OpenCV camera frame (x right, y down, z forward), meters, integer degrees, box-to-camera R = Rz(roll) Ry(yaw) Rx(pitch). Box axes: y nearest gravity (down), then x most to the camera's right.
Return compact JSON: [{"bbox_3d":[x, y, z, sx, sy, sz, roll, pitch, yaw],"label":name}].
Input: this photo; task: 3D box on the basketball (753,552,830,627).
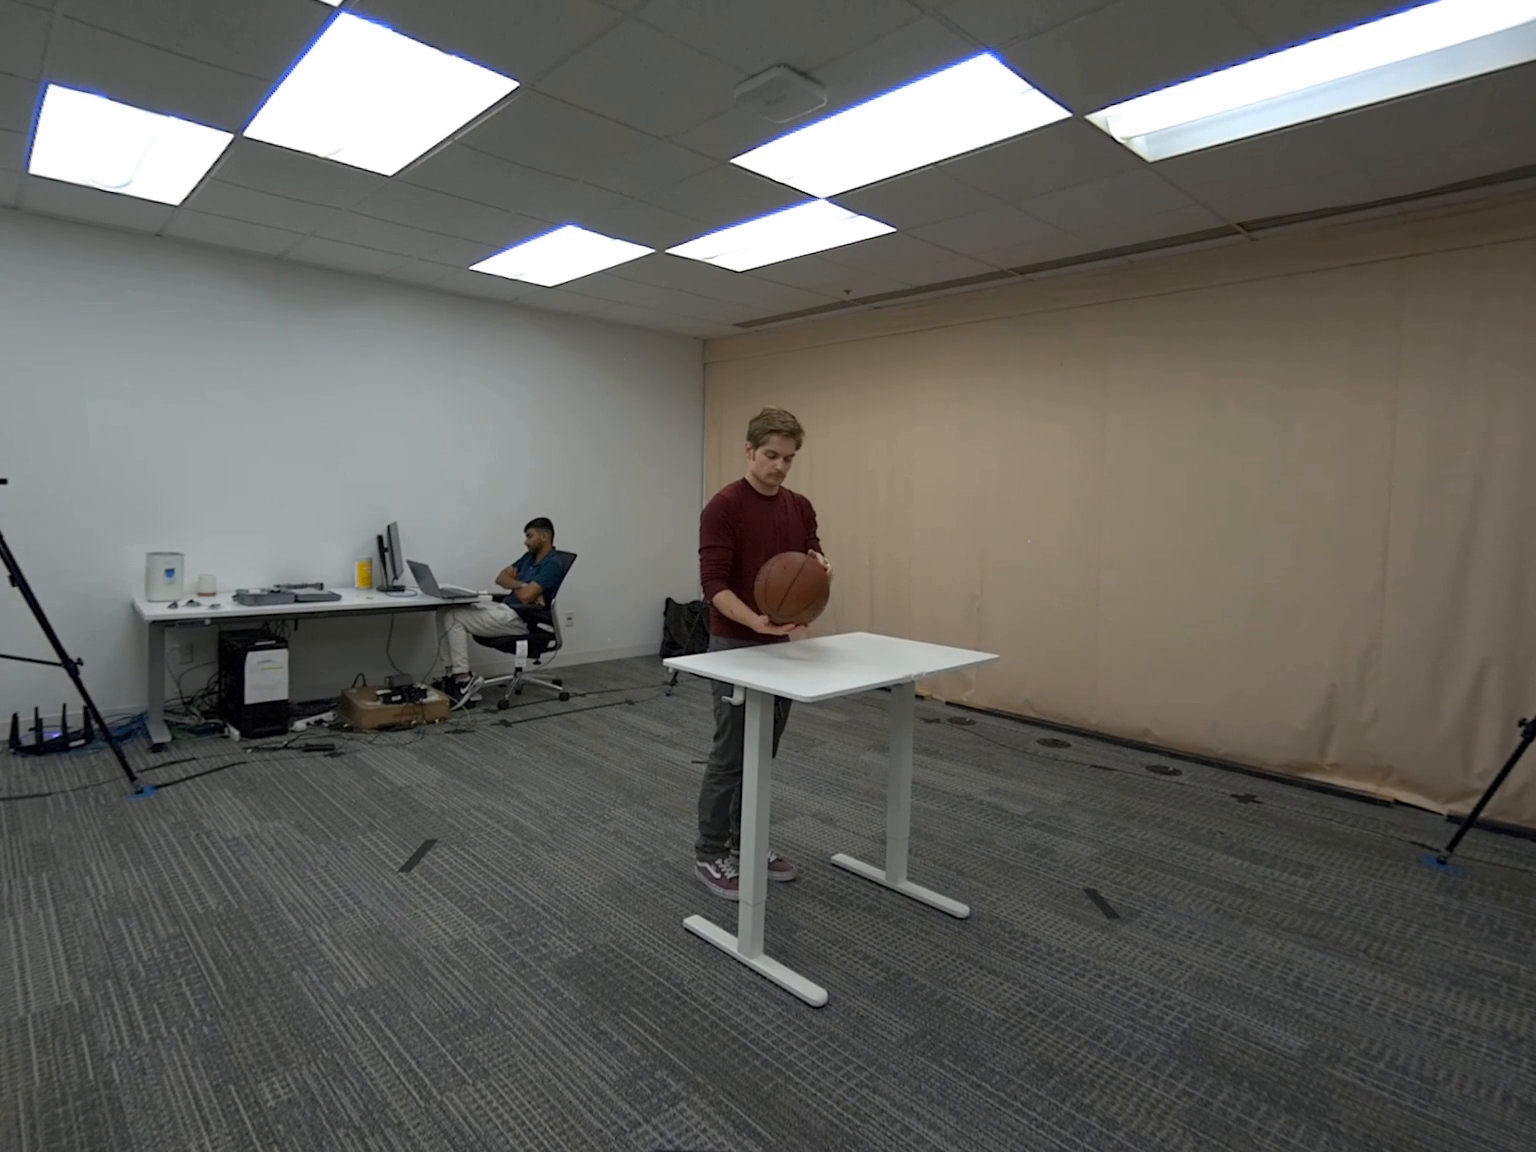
[{"bbox_3d":[0.057,0.042,2.662,0.236,0.235,0.237,1,4,-1],"label":"basketball"}]
